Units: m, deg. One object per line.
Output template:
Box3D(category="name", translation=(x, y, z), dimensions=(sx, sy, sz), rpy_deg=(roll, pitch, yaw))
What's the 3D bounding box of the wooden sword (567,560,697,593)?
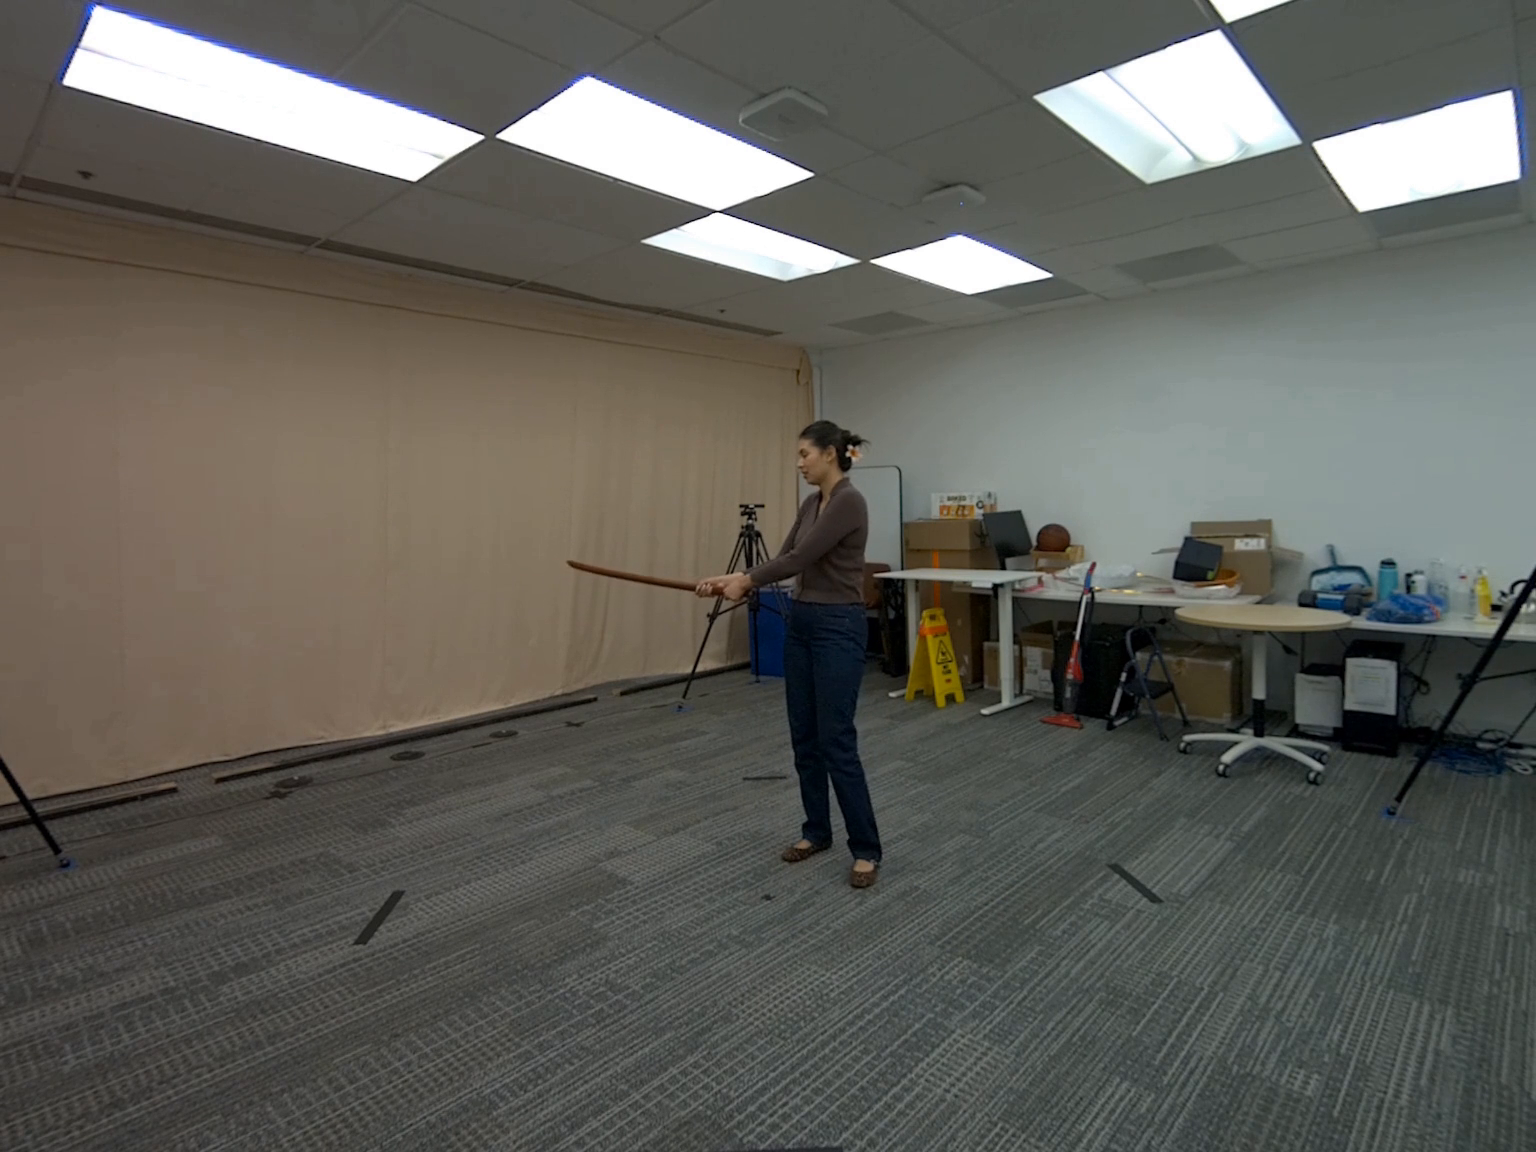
Box3D(category="wooden sword", translation=(-0.528, 0.021, 3.585), dimensions=(1.056, 0.024, 0.049), rpy_deg=(9, -18, 30))
